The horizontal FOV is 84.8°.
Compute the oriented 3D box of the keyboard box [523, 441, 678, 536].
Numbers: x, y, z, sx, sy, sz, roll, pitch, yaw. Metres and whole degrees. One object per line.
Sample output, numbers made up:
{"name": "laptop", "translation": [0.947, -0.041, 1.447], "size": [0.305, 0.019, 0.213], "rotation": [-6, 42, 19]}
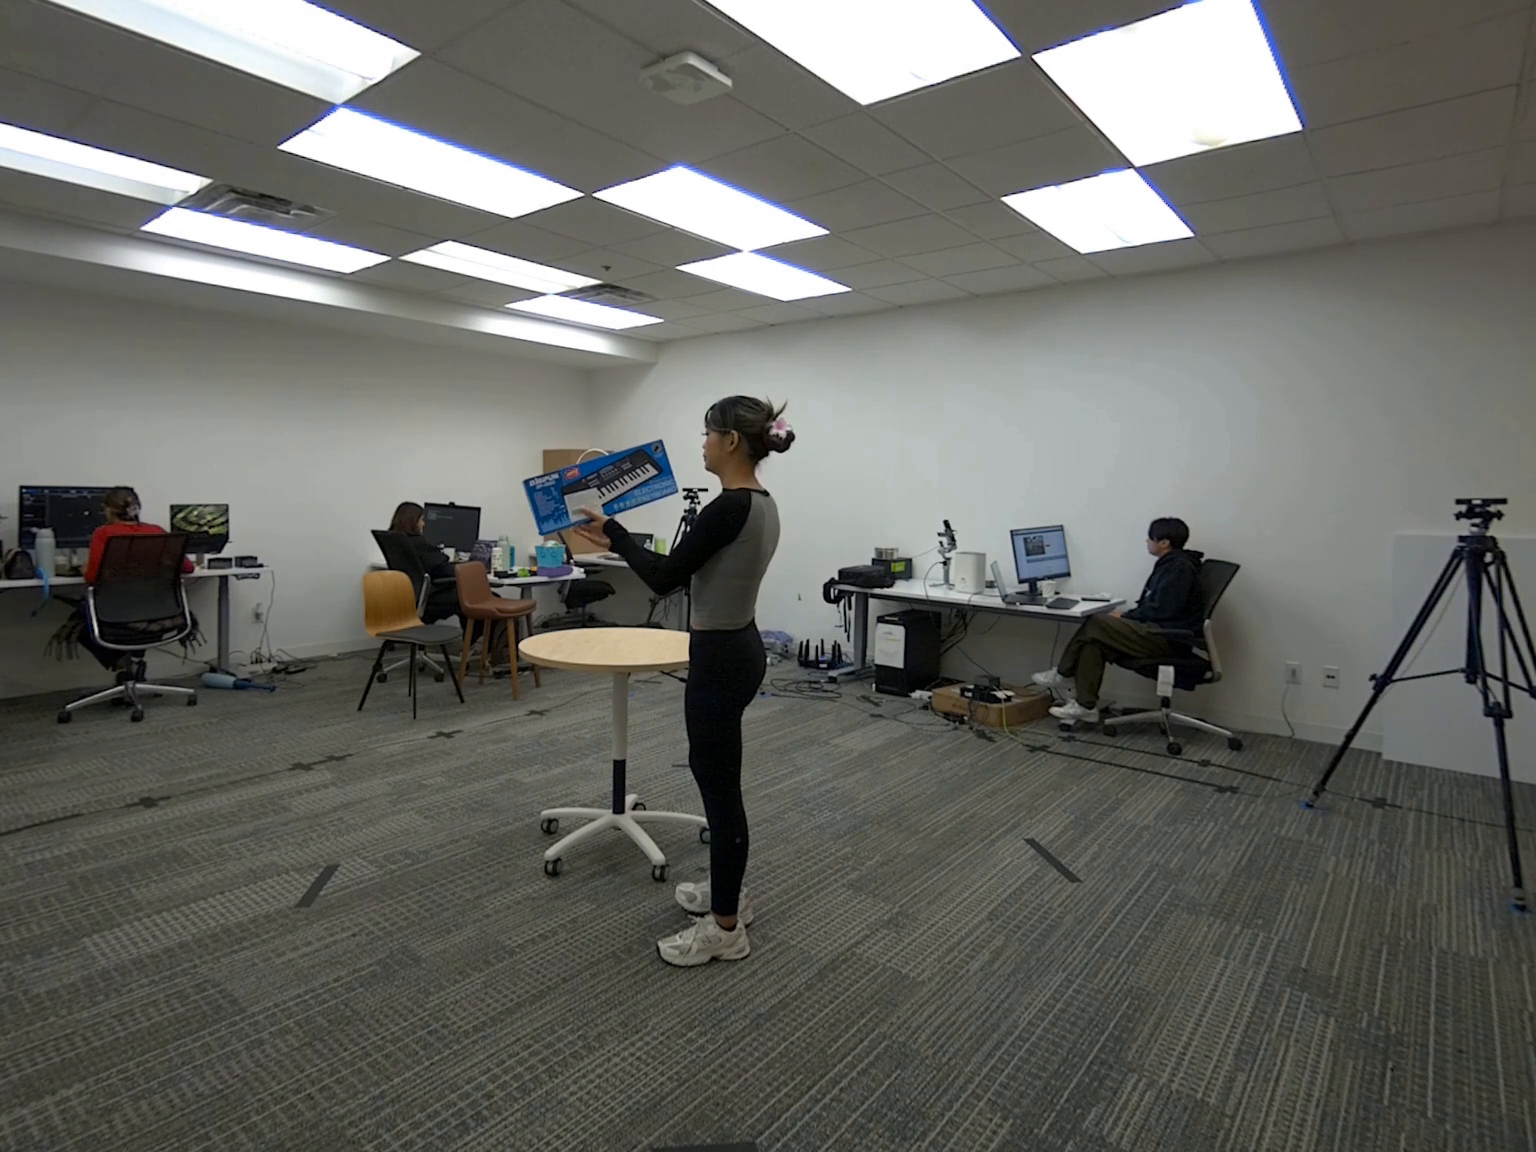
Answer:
{"name": "keyboard box", "translation": [-0.513, -0.268, 2.567], "size": [0.433, 0.175, 0.060], "rotation": [-20, 4, -14]}
